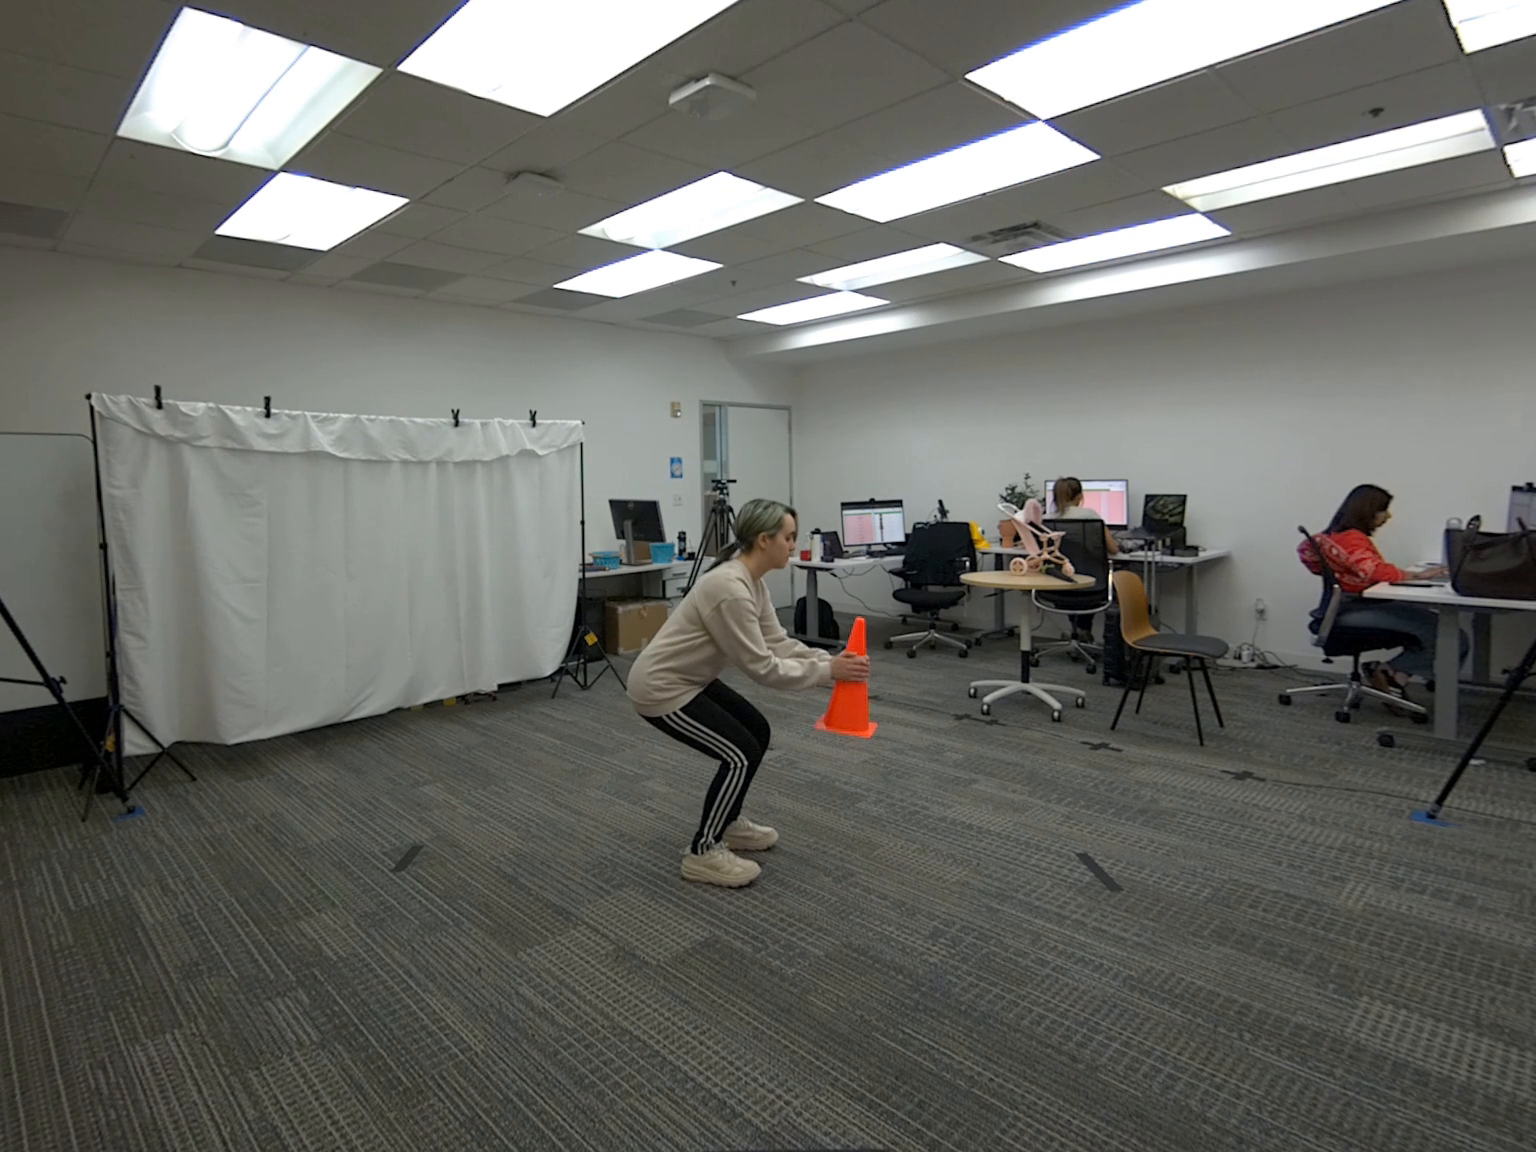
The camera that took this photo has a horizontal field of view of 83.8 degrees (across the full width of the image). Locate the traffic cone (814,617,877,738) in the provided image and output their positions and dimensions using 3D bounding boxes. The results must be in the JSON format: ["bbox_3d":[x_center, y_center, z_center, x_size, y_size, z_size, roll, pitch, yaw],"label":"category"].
[{"bbox_3d":[0.291,0.336,2.957,0.208,0.382,0.202,8,7,19],"label":"traffic cone"}]
